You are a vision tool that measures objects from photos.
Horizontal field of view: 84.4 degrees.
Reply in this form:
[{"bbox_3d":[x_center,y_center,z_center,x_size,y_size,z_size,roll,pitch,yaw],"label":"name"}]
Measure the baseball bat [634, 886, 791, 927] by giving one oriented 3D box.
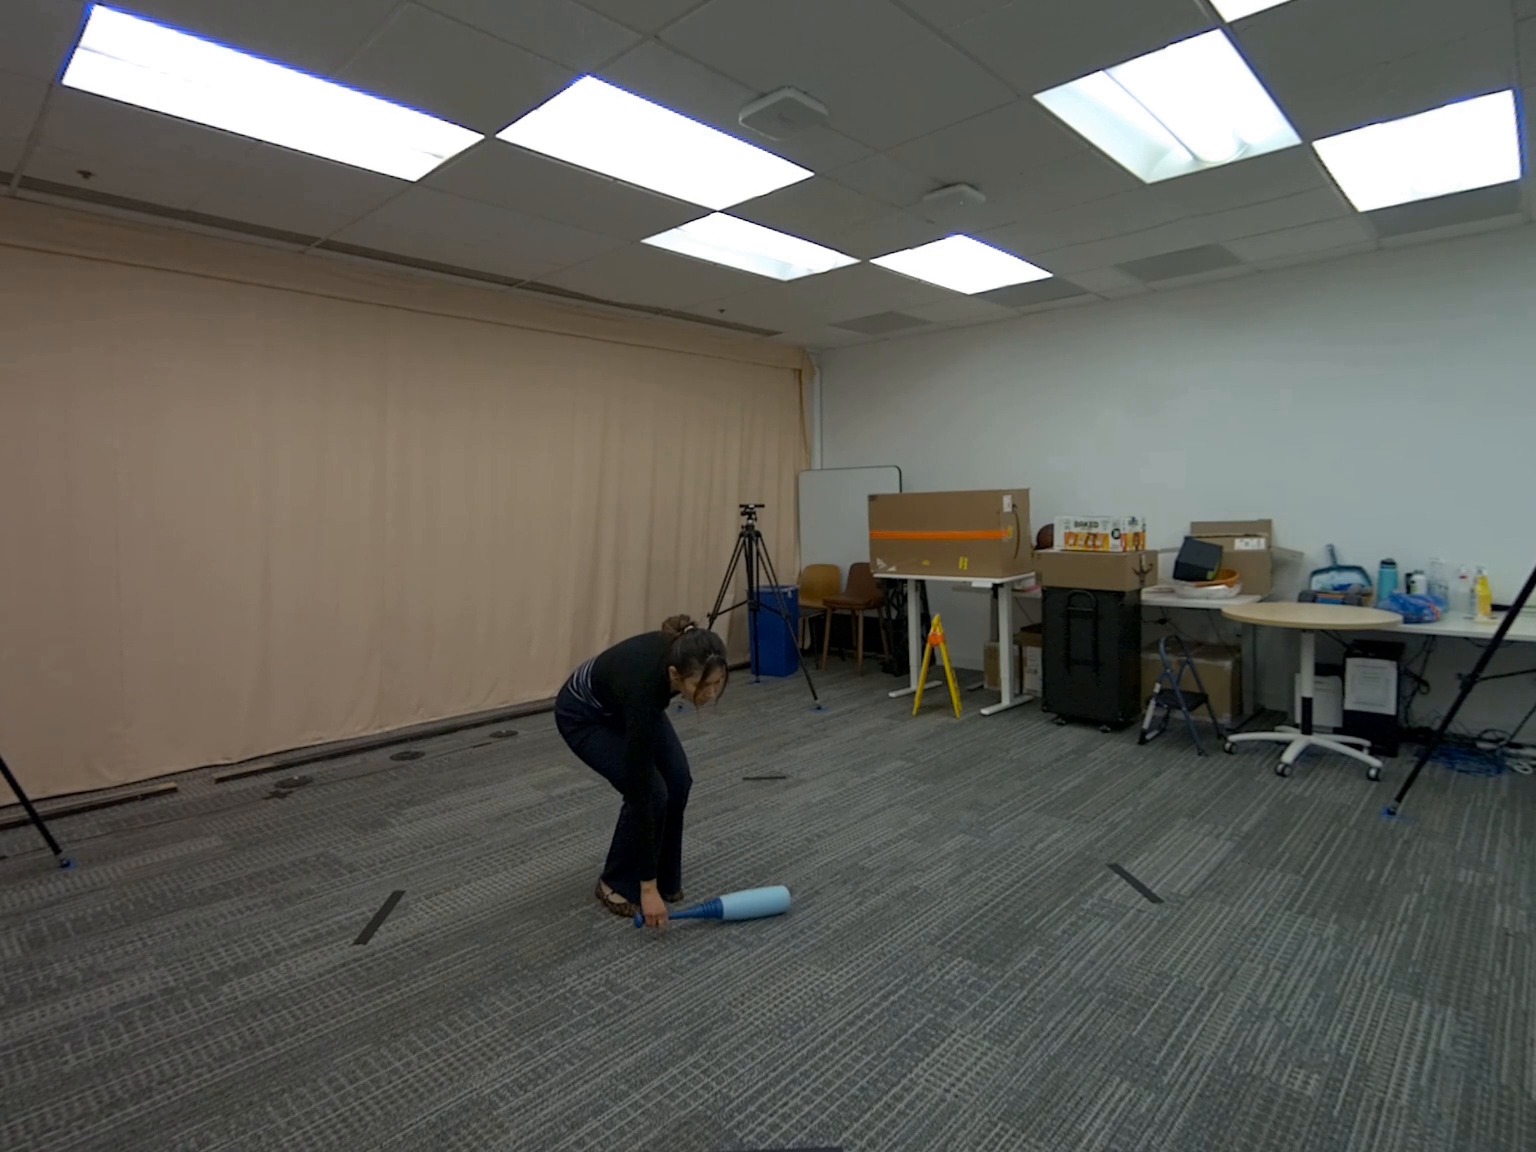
[{"bbox_3d":[-0.173,1.104,2.784,0.532,0.089,0.091,-1,4,-21],"label":"baseball bat"}]
